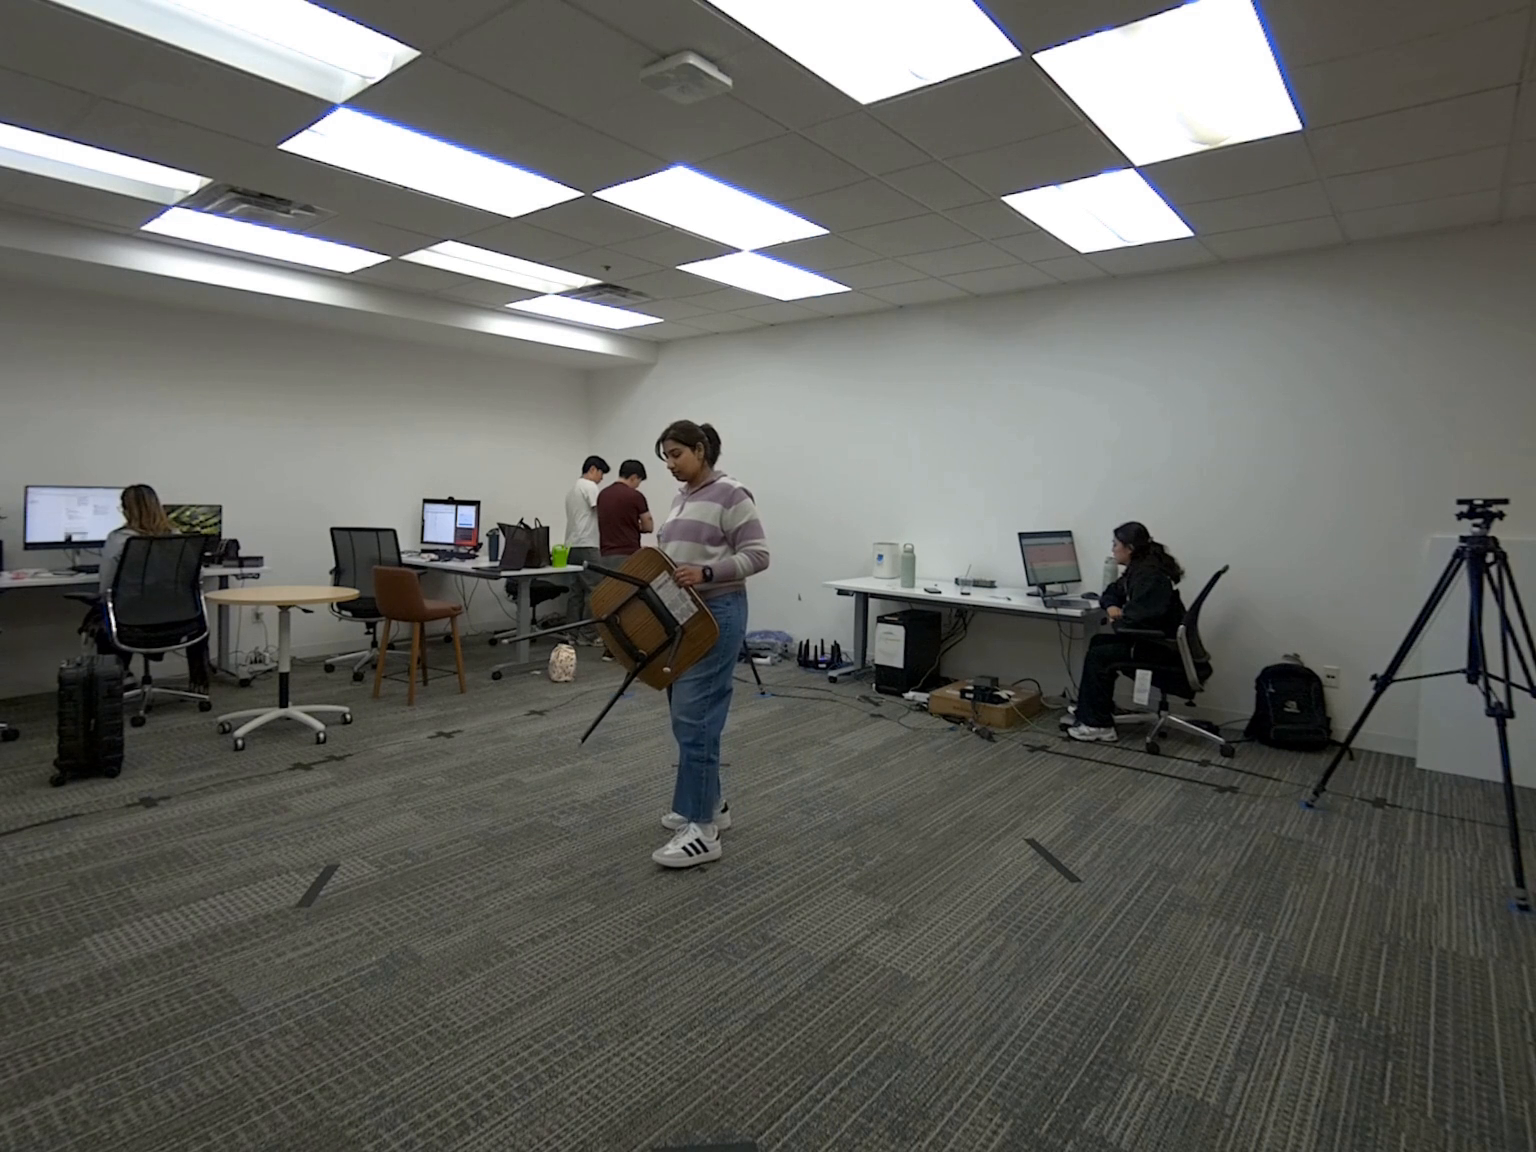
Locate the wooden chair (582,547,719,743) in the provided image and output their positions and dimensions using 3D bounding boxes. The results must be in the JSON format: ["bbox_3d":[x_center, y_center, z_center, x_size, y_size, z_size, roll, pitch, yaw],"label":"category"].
[{"bbox_3d":[-0.494,0.189,3.219,0.524,0.483,0.867,-41,-5,17],"label":"wooden chair"}]
